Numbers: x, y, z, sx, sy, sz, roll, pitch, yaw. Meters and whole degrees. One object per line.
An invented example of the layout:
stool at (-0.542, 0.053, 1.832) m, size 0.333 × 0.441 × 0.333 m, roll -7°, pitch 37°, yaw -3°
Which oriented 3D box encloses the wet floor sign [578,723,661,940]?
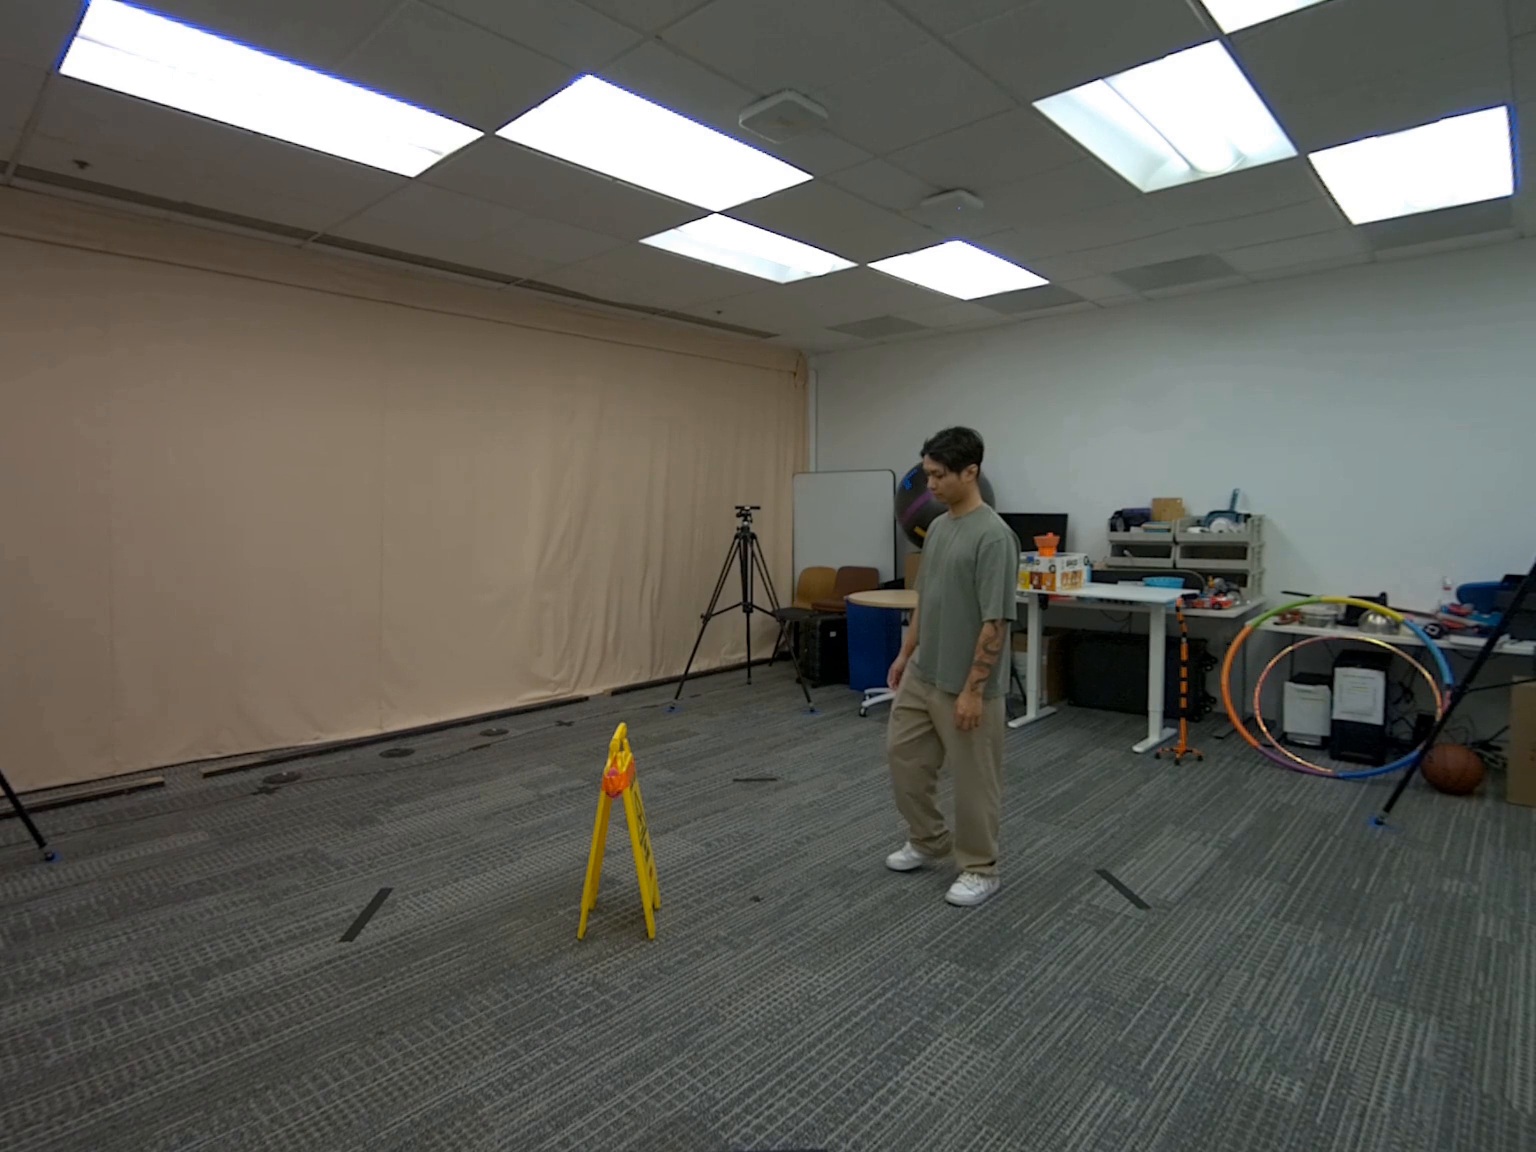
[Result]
wet floor sign at (-0.493, 0.836, 2.824) m, size 0.290 × 0.644 × 0.283 m, roll 0°, pitch 4°, yaw -1°
